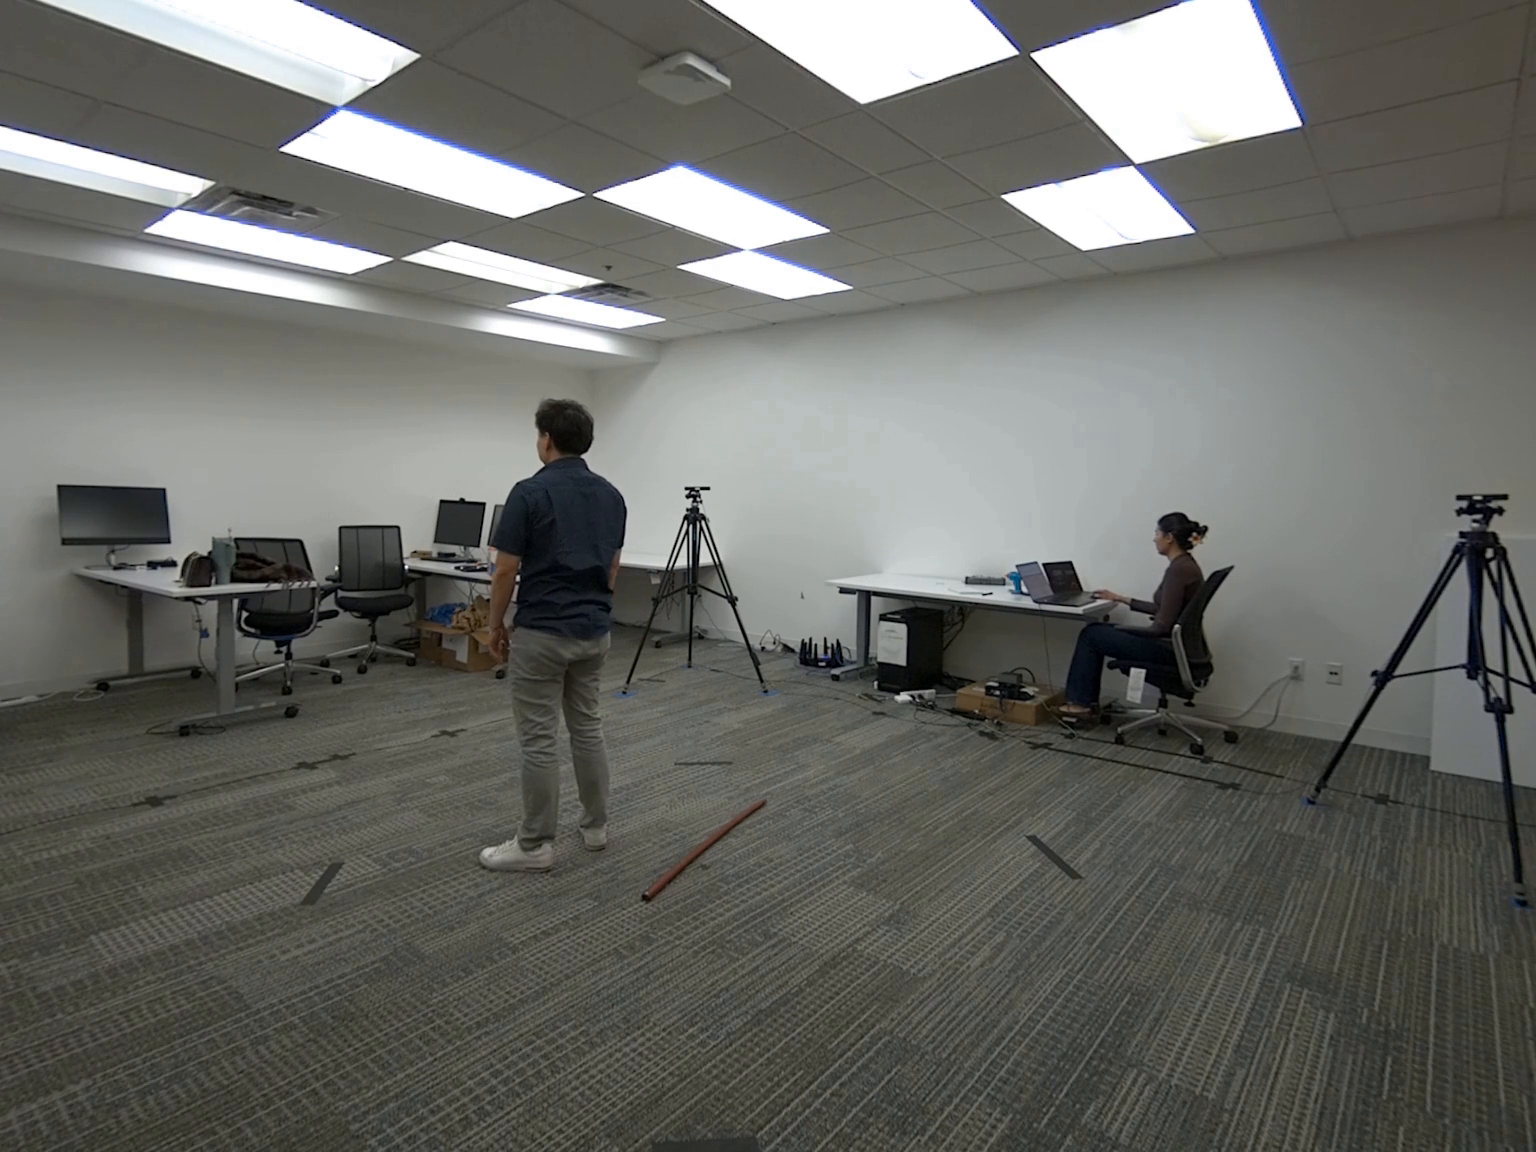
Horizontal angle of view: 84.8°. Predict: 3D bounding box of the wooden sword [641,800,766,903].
[{"bbox_3d":[-0.232,1.022,3.297,0.052,0.024,1.003,-21,-3,24],"label":"wooden sword"}]
